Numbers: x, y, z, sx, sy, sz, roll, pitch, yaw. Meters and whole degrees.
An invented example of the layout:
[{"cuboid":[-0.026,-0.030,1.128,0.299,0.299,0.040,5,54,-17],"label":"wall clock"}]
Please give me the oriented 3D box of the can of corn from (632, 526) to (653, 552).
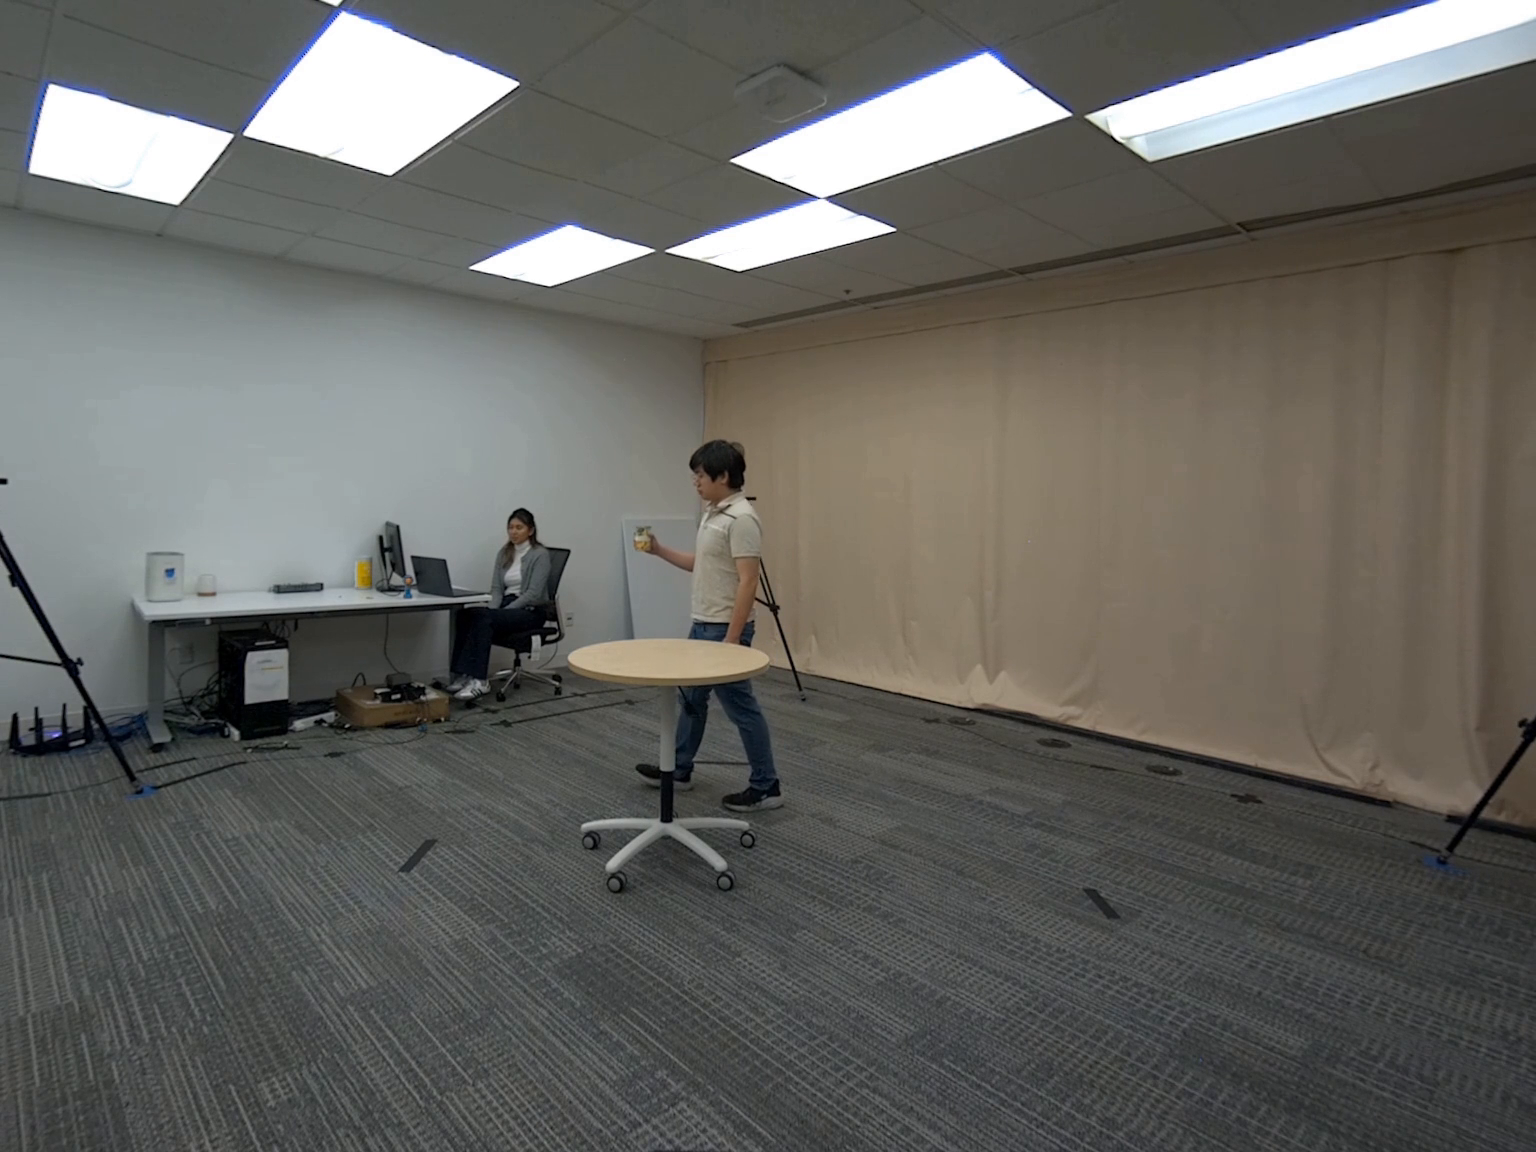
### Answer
[{"cuboid":[-0.600,-0.180,3.962,0.074,0.110,0.074,2,6,-2],"label":"can of corn"}]
